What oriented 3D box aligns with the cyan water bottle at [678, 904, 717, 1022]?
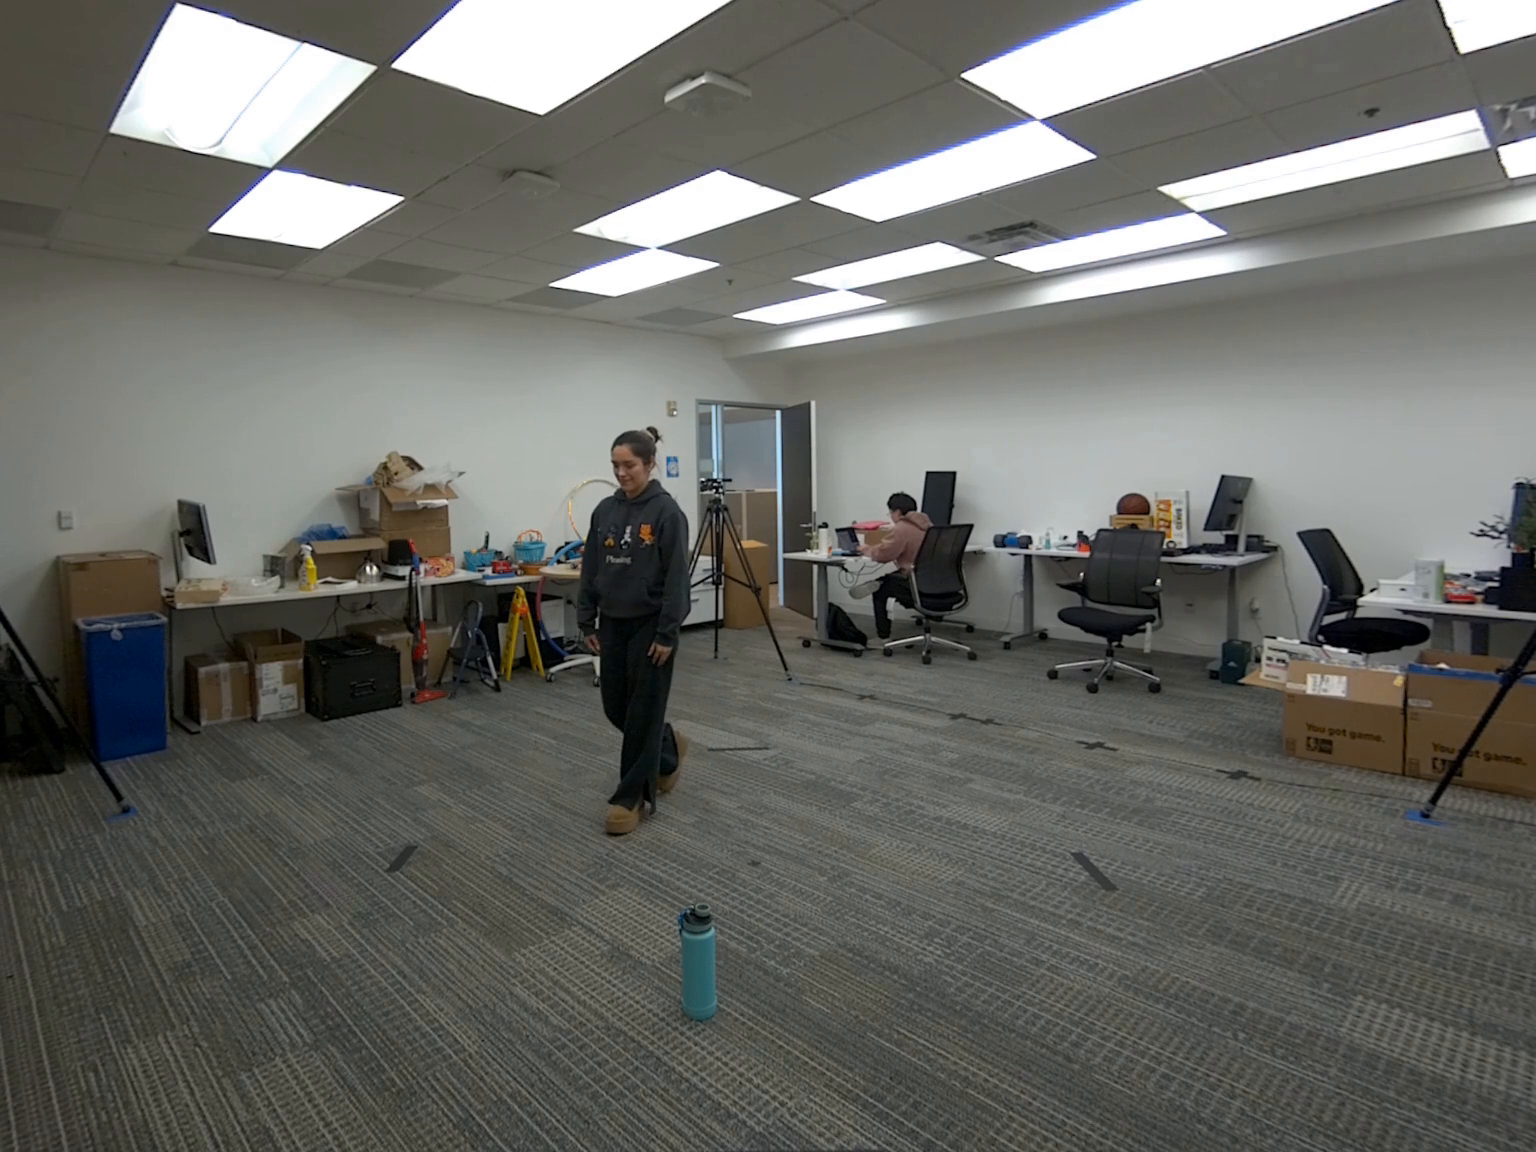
[{"bbox_3d":[-0.180,1.010,2.234,0.092,0.282,0.093,-2,3,-1],"label":"cyan water bottle"}]
